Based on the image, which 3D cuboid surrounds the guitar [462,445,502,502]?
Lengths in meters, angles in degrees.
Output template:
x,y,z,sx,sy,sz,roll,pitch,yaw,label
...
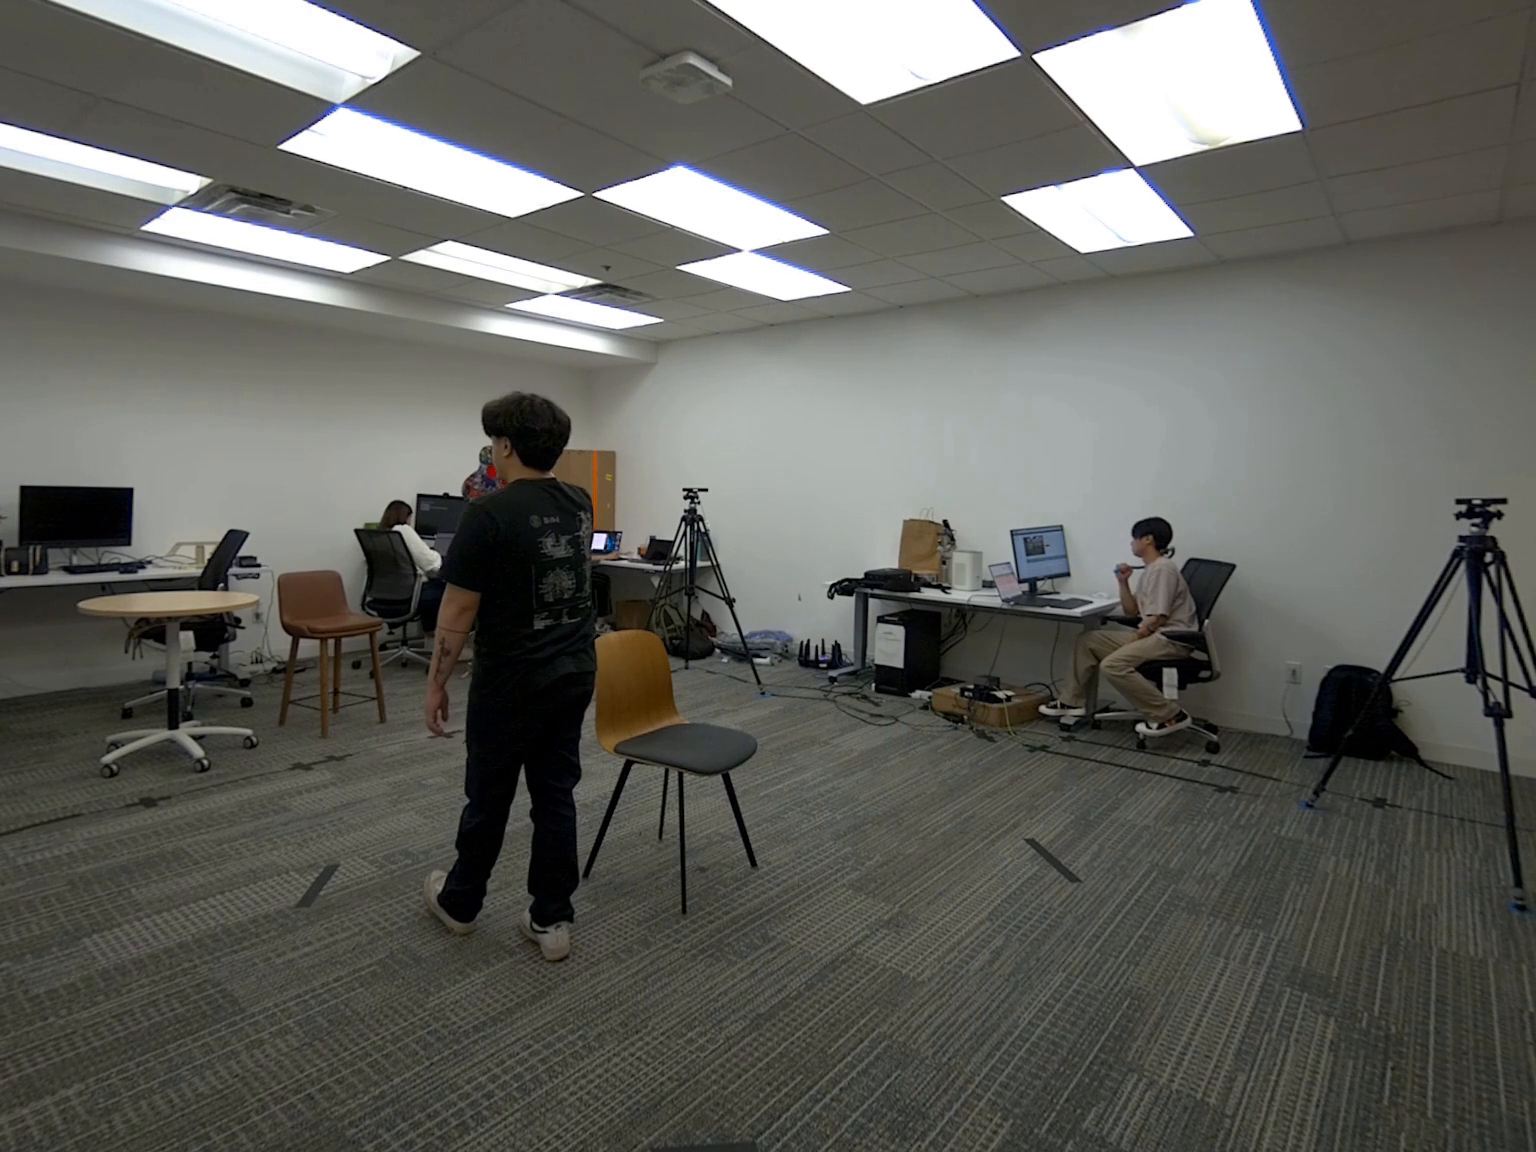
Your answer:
x,y,z,sx,sy,sz,roll,pitch,yaw,label
-0.960,-0.436,3.101,0.195,0.496,0.070,40,24,8,guitar
